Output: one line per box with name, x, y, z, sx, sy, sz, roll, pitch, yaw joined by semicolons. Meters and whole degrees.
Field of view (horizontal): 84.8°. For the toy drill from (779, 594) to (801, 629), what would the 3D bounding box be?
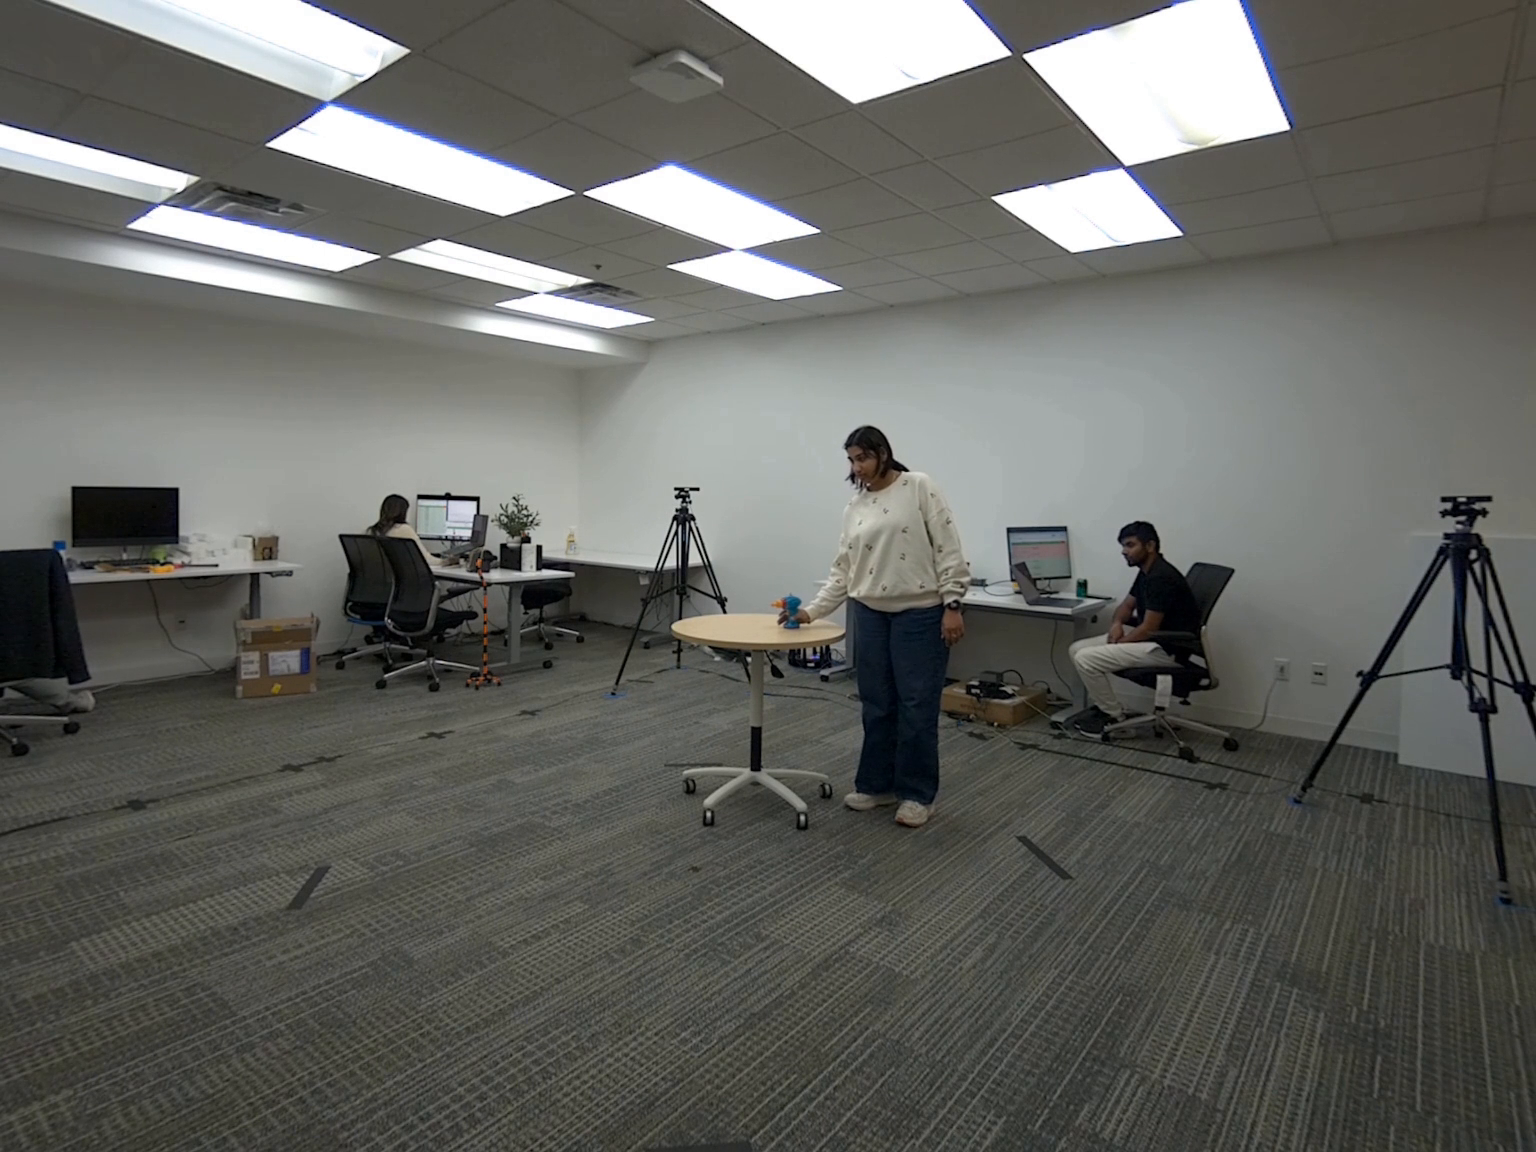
toy drill;0.070;0.155;3.731;0.165;0.145;0.063;-2;4;-36
